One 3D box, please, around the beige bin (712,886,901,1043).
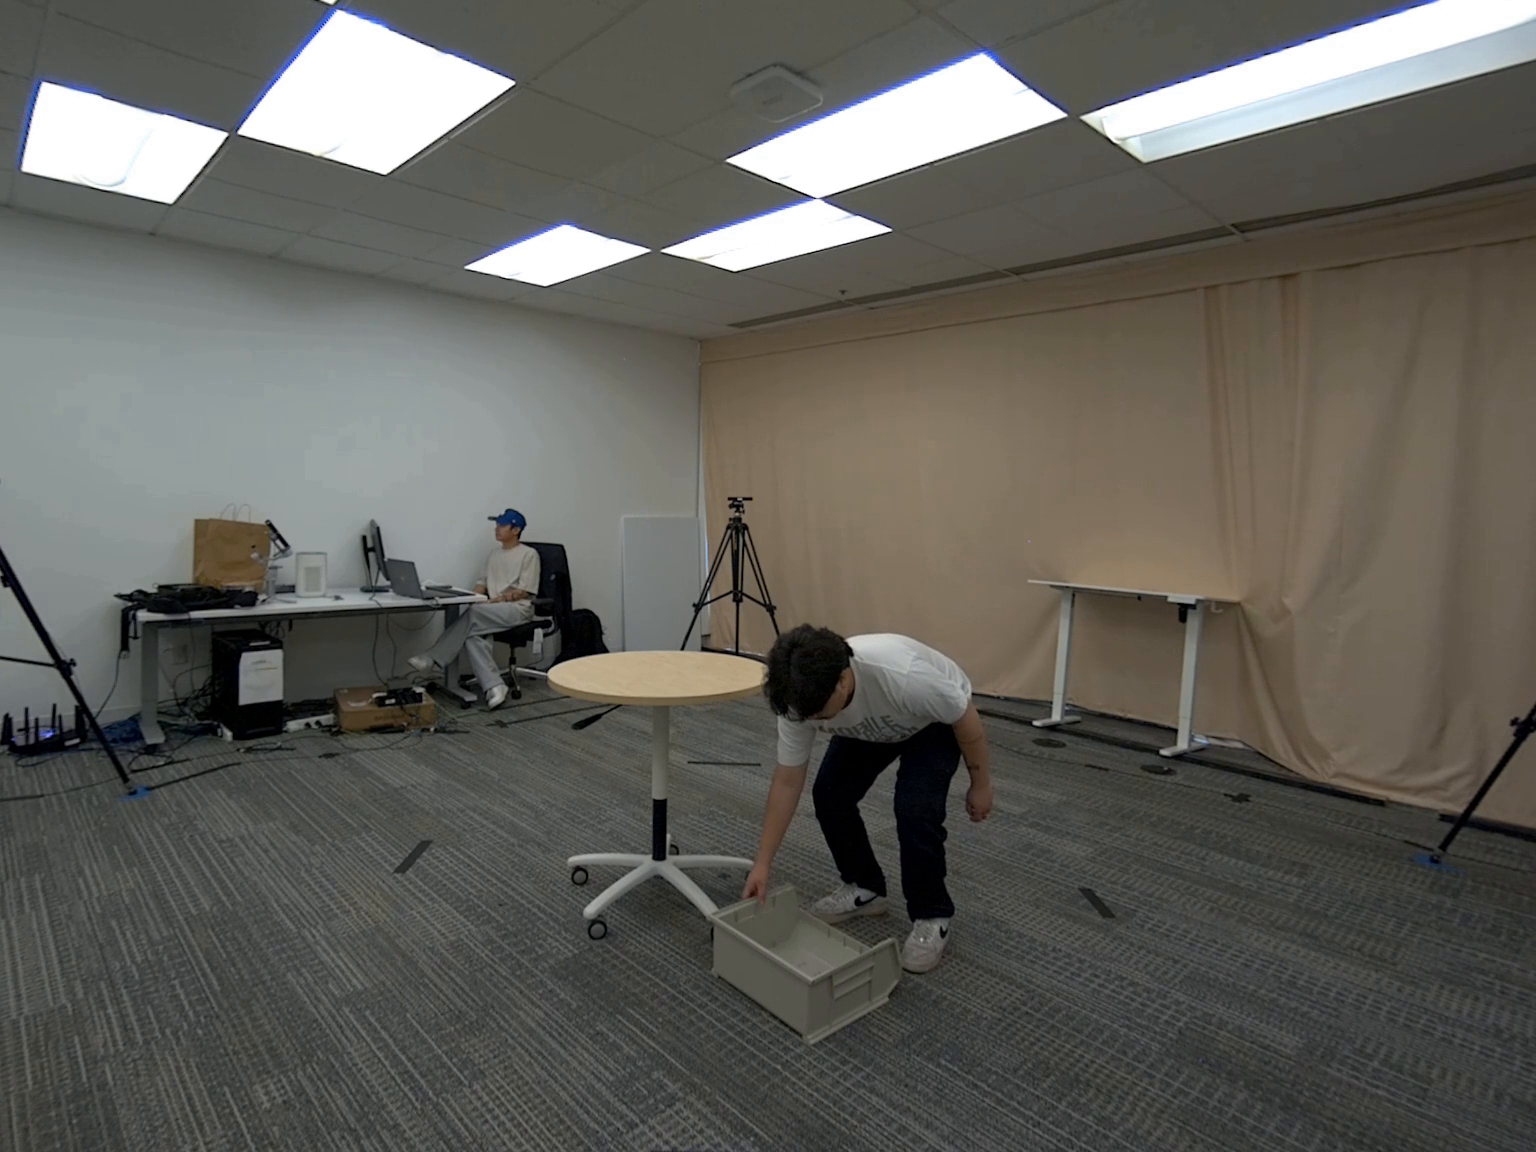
[{"bbox_3d":[0.097,1.088,2.412,0.369,0.188,0.433,-5,8,-42],"label":"beige bin"}]
